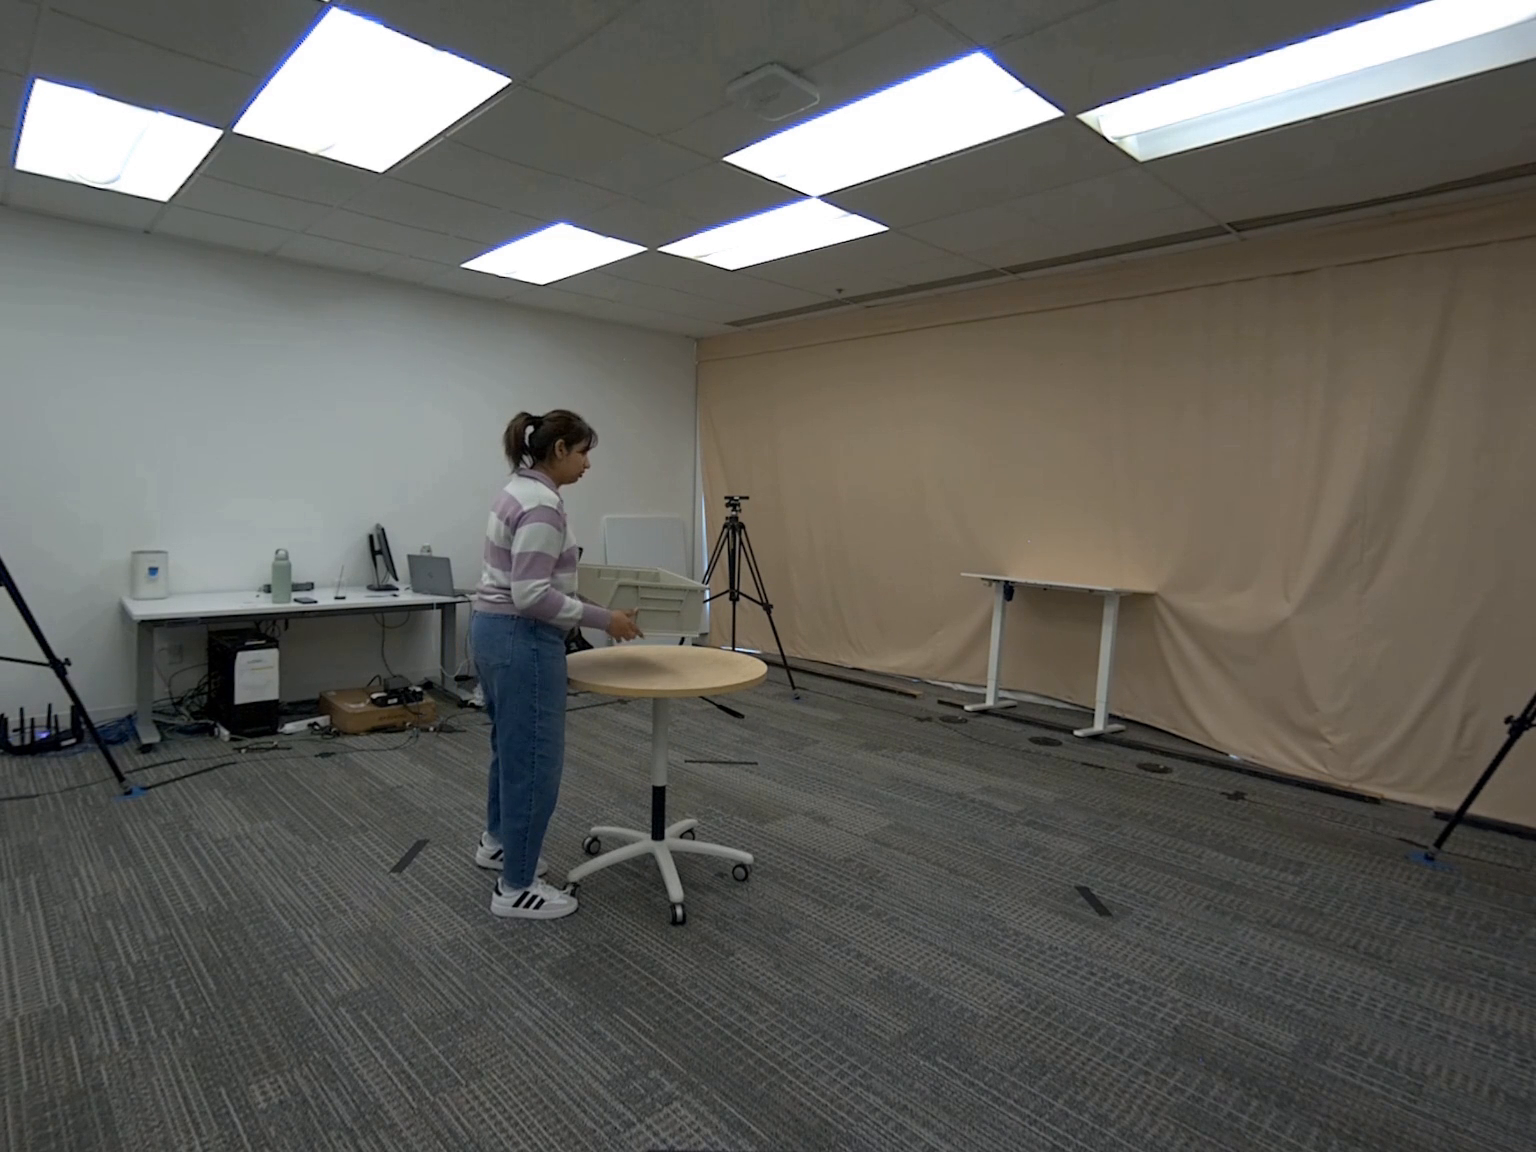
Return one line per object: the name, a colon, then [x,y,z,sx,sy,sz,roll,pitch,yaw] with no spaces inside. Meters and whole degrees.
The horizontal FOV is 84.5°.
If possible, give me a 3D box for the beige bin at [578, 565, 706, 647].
beige bin: [-0.491,0.088,2.995,0.369,0.188,0.433,5,6,-31]
